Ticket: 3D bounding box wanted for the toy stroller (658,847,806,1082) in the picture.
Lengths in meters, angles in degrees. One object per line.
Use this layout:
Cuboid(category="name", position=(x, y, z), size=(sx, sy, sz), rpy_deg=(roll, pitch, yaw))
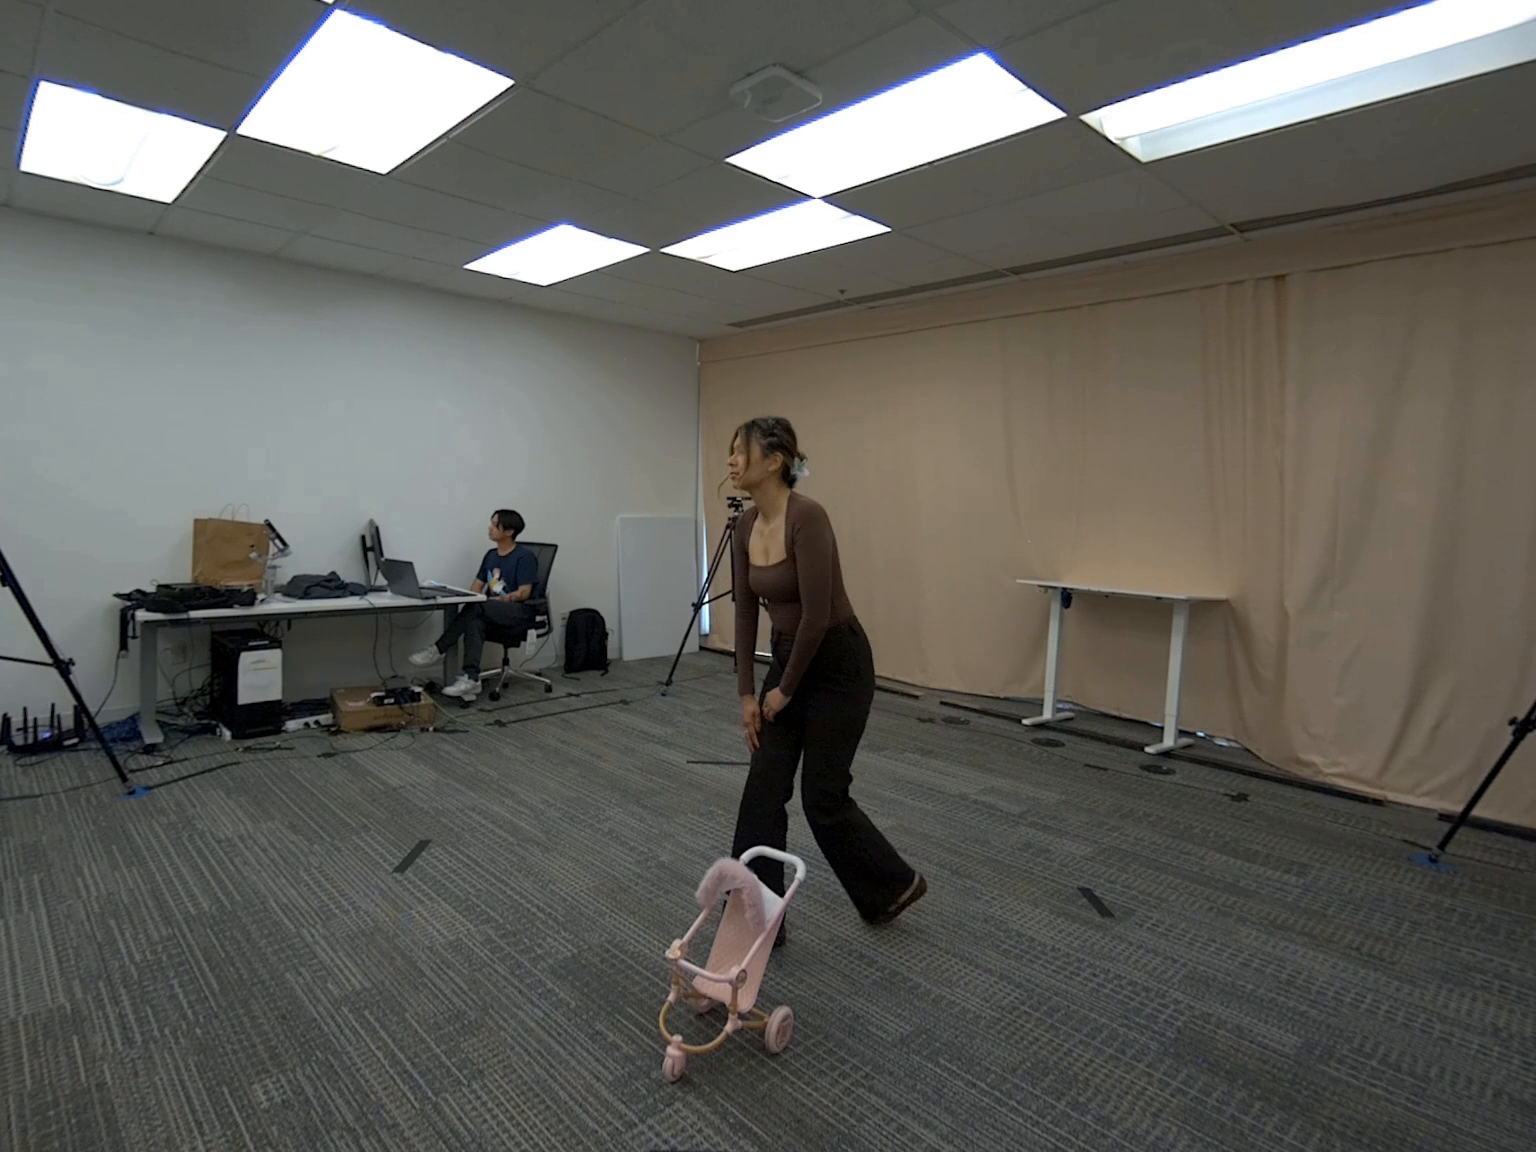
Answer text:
Cuboid(category="toy stroller", position=(-0.112, 0.975, 2.145), size=(0.288, 0.537, 0.331), rpy_deg=(5, -12, 43))
